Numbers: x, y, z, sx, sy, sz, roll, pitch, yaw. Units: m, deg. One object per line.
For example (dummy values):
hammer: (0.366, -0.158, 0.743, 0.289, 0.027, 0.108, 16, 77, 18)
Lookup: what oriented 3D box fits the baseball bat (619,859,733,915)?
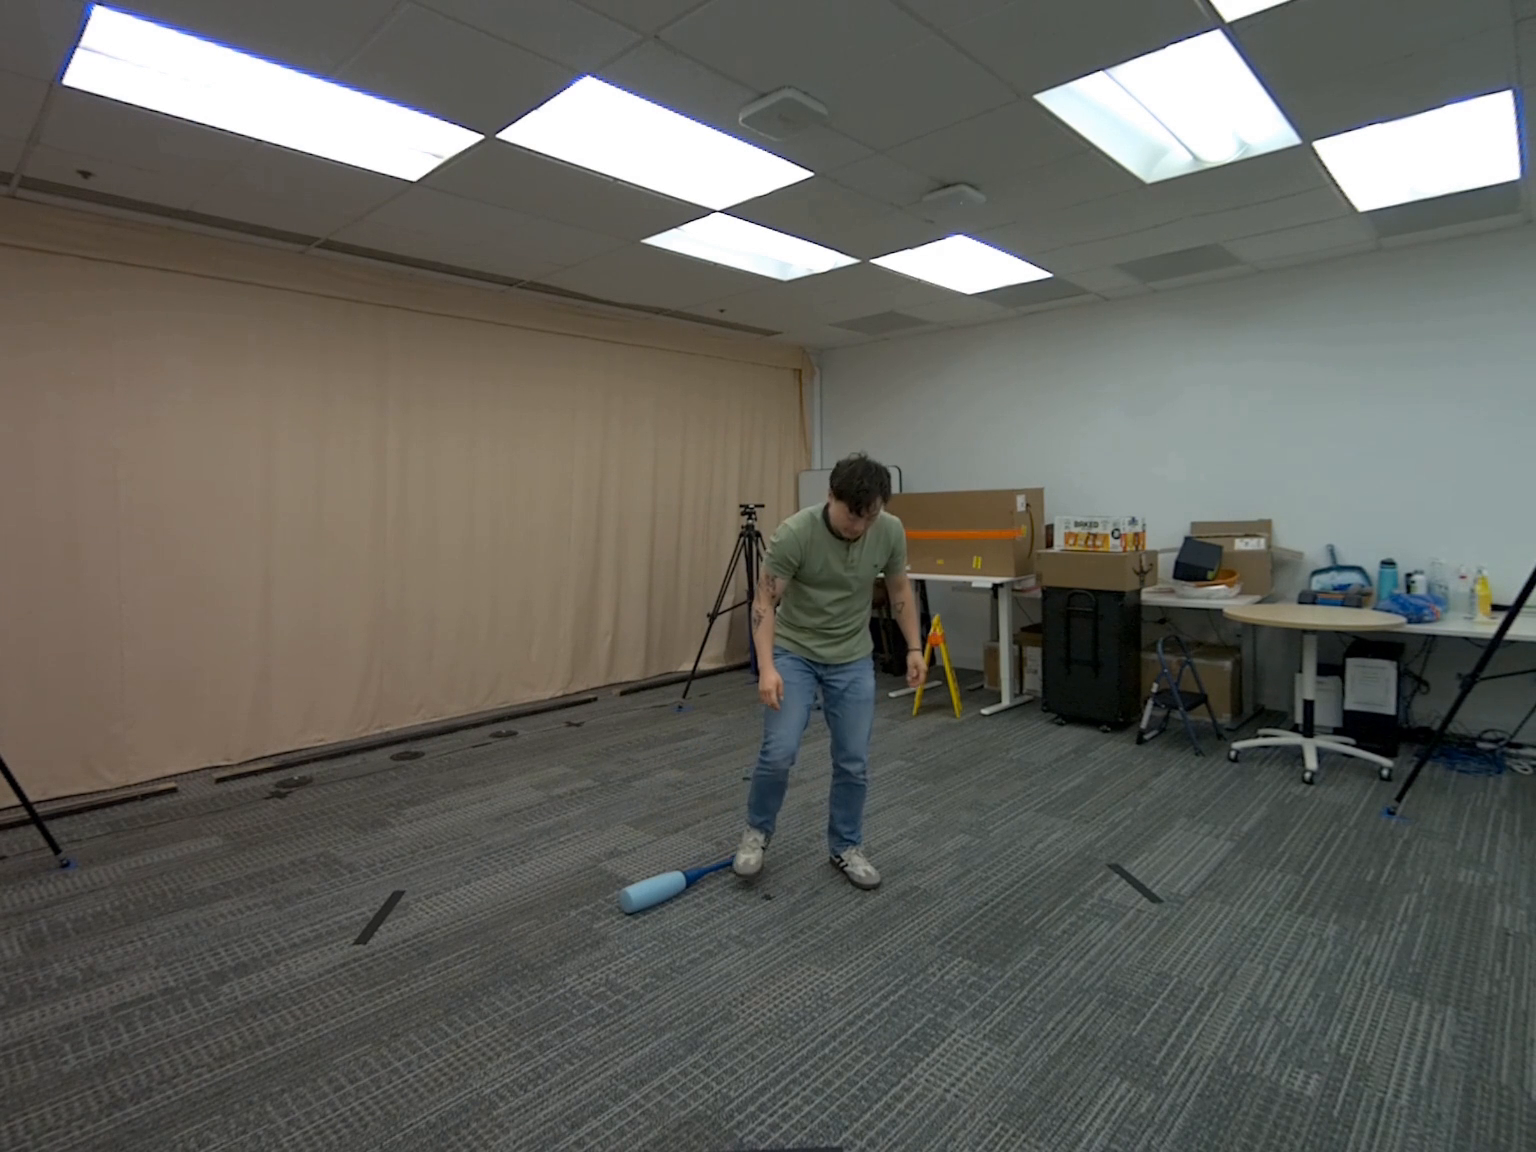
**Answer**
baseball bat: (-0.301, 1.101, 3.054, 0.526, 0.089, 0.092, -3, 4, -44)
